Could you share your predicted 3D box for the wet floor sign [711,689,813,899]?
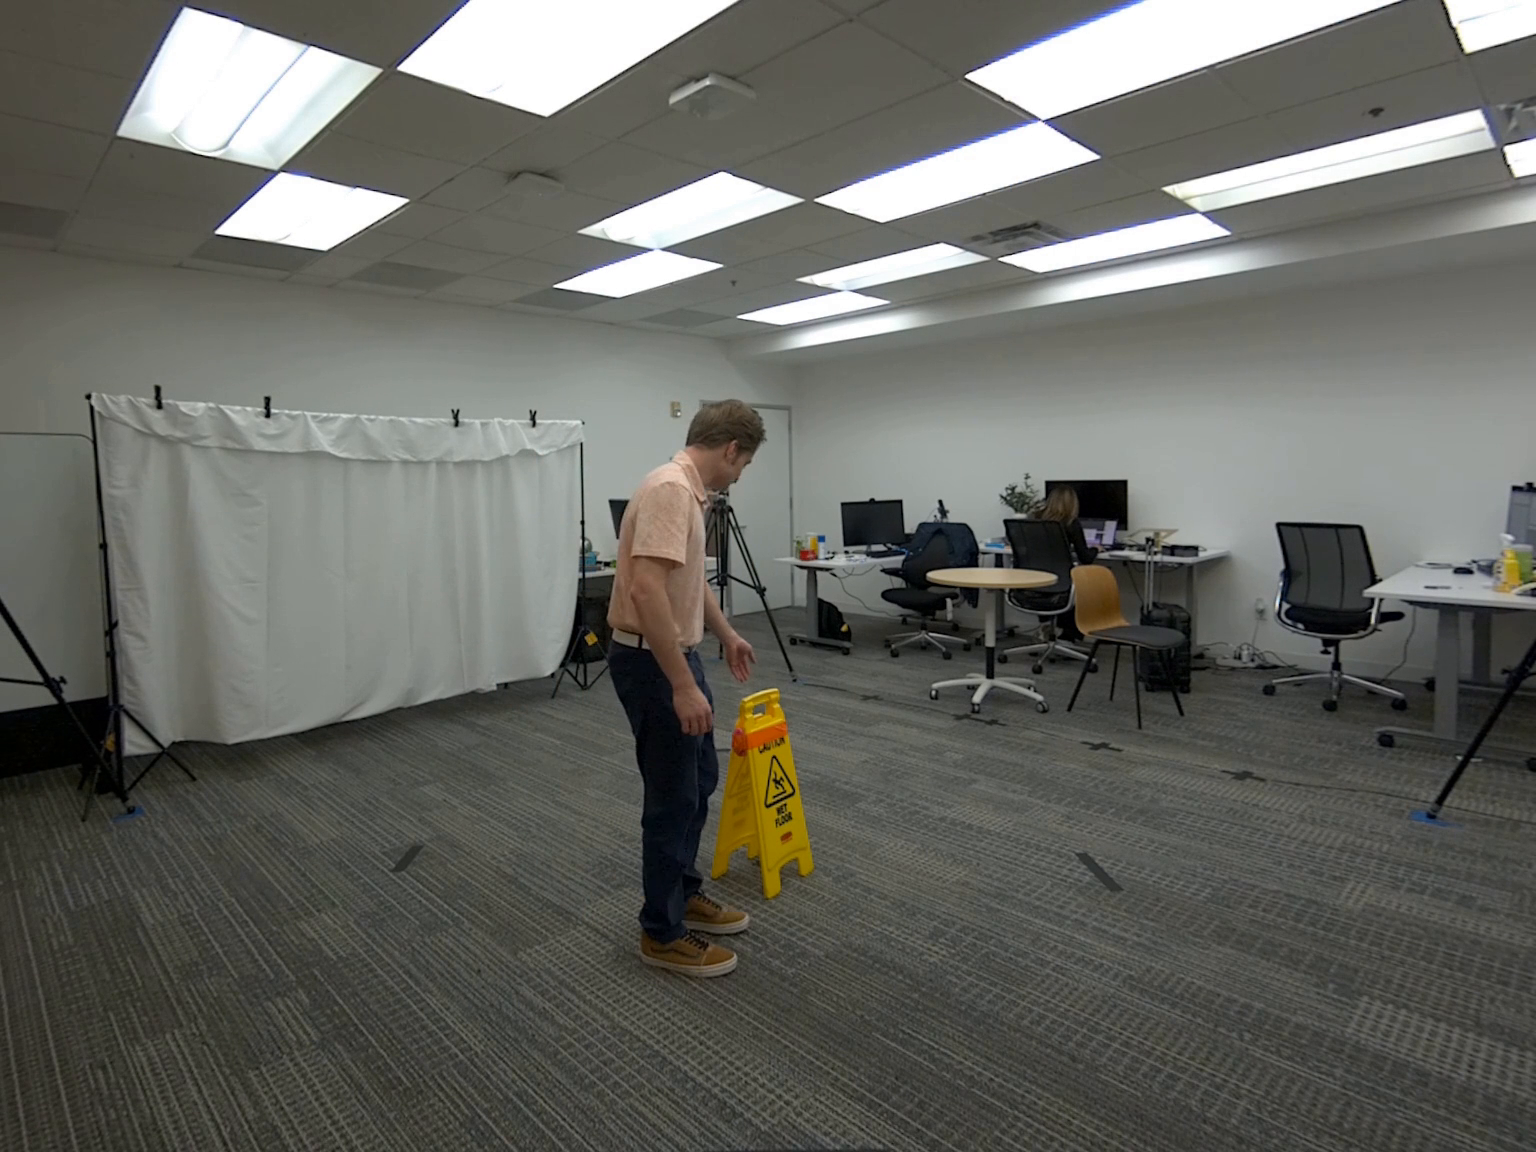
[{"bbox_3d":[-0.023,0.732,3.007,0.298,0.644,0.275,1,4,38],"label":"wet floor sign"}]
